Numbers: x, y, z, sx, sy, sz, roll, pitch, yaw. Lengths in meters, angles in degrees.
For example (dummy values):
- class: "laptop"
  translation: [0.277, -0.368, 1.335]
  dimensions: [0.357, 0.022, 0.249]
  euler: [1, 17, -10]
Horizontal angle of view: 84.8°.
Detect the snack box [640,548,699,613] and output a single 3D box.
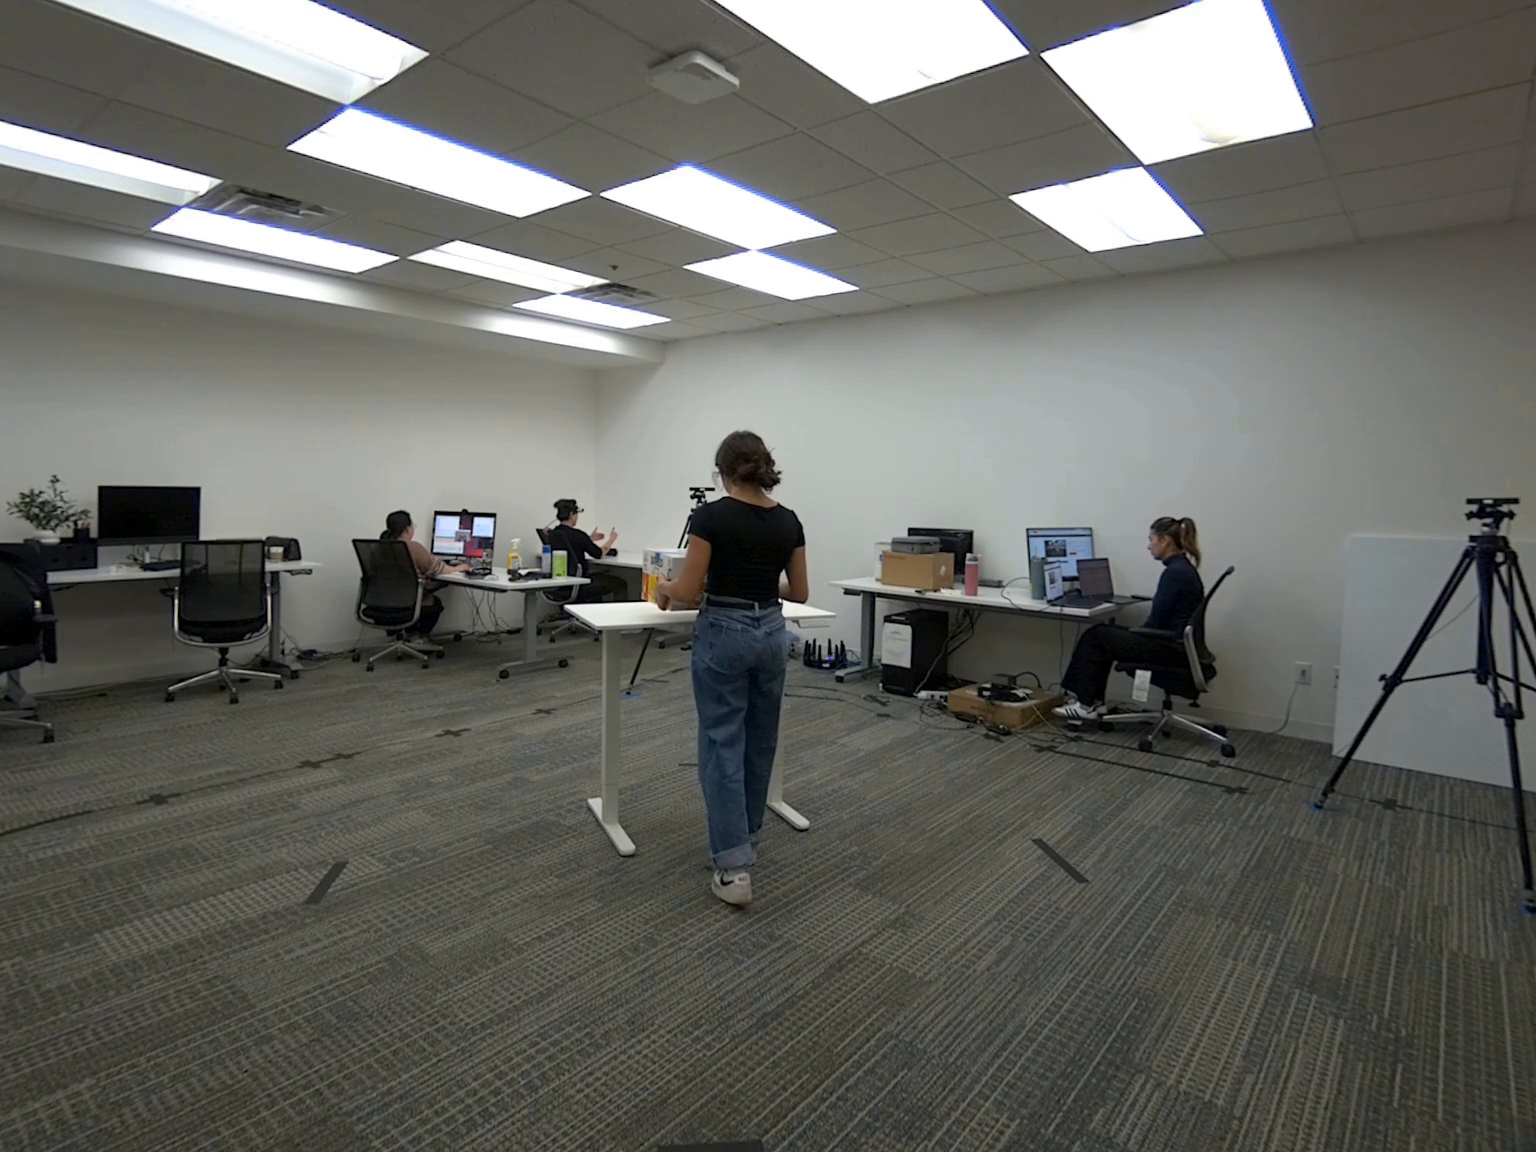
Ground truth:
- class: "snack box"
  translation: [-0.256, 0.006, 3.340]
  dimensions: [0.395, 0.205, 0.350]
  euler: [-1, 7, -26]
